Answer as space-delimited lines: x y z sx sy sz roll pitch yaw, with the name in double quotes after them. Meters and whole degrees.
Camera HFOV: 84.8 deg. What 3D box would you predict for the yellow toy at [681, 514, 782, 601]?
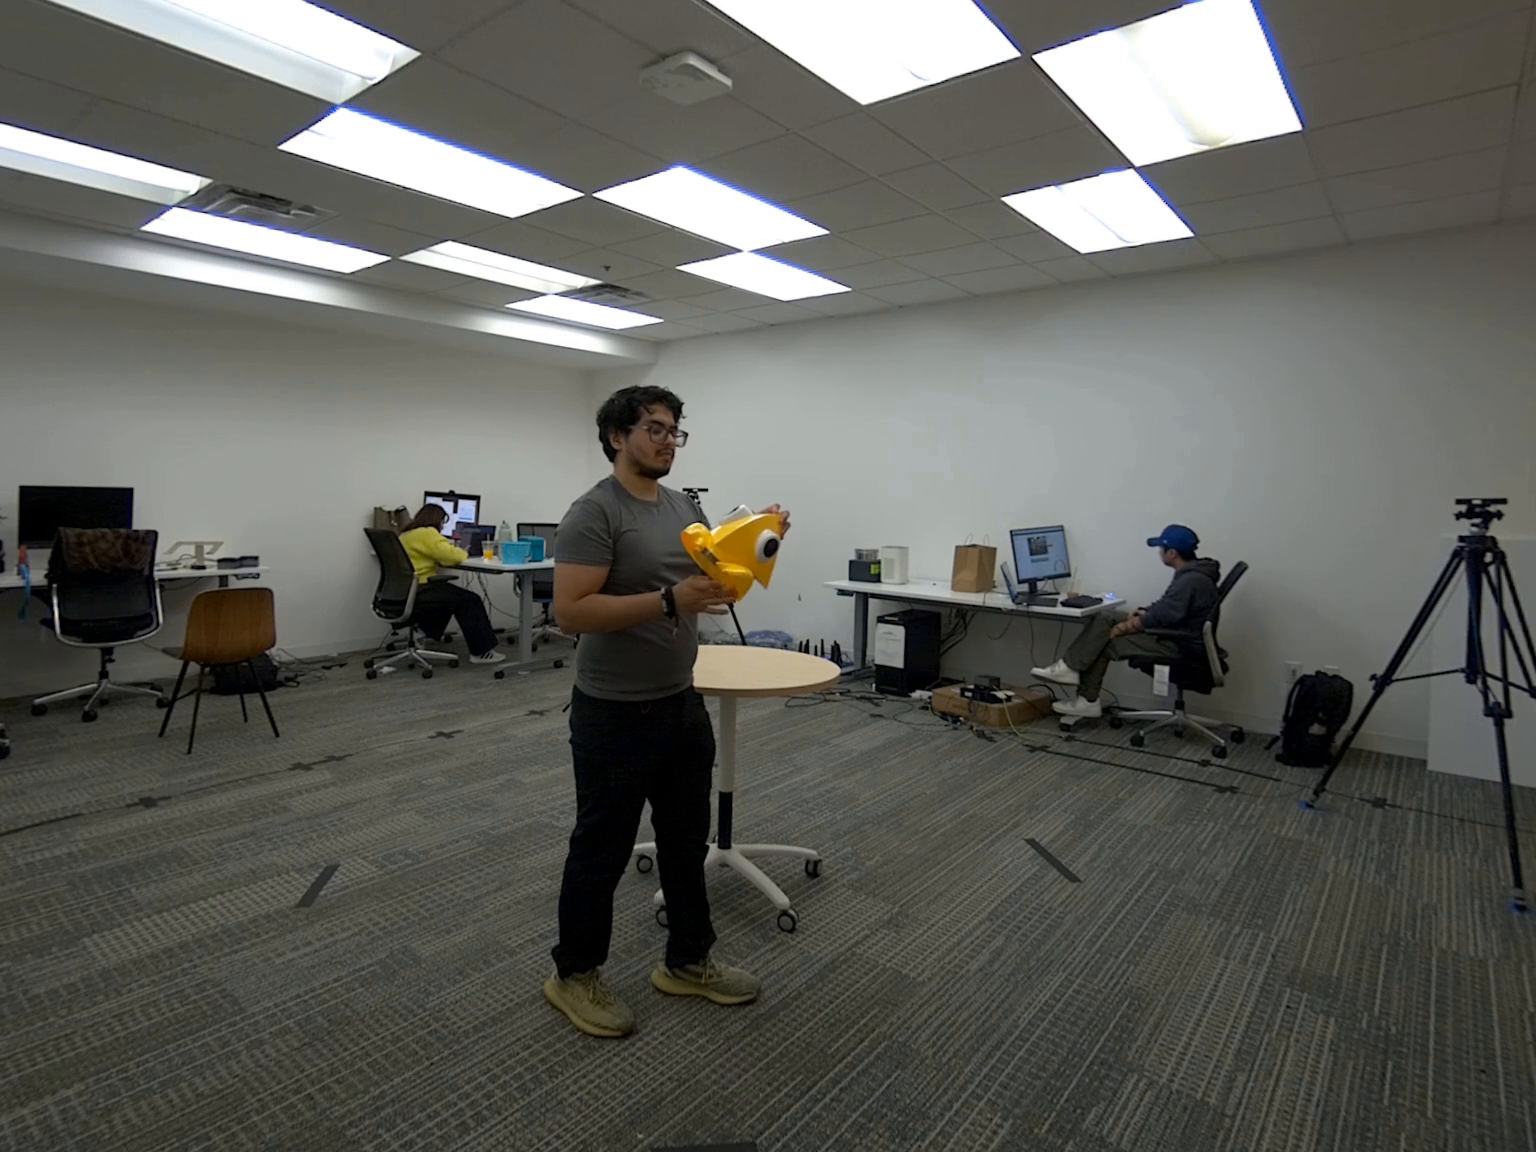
-0.054 -0.095 1.988 0.210 0.230 0.188 44 -15 19 "yellow toy"
